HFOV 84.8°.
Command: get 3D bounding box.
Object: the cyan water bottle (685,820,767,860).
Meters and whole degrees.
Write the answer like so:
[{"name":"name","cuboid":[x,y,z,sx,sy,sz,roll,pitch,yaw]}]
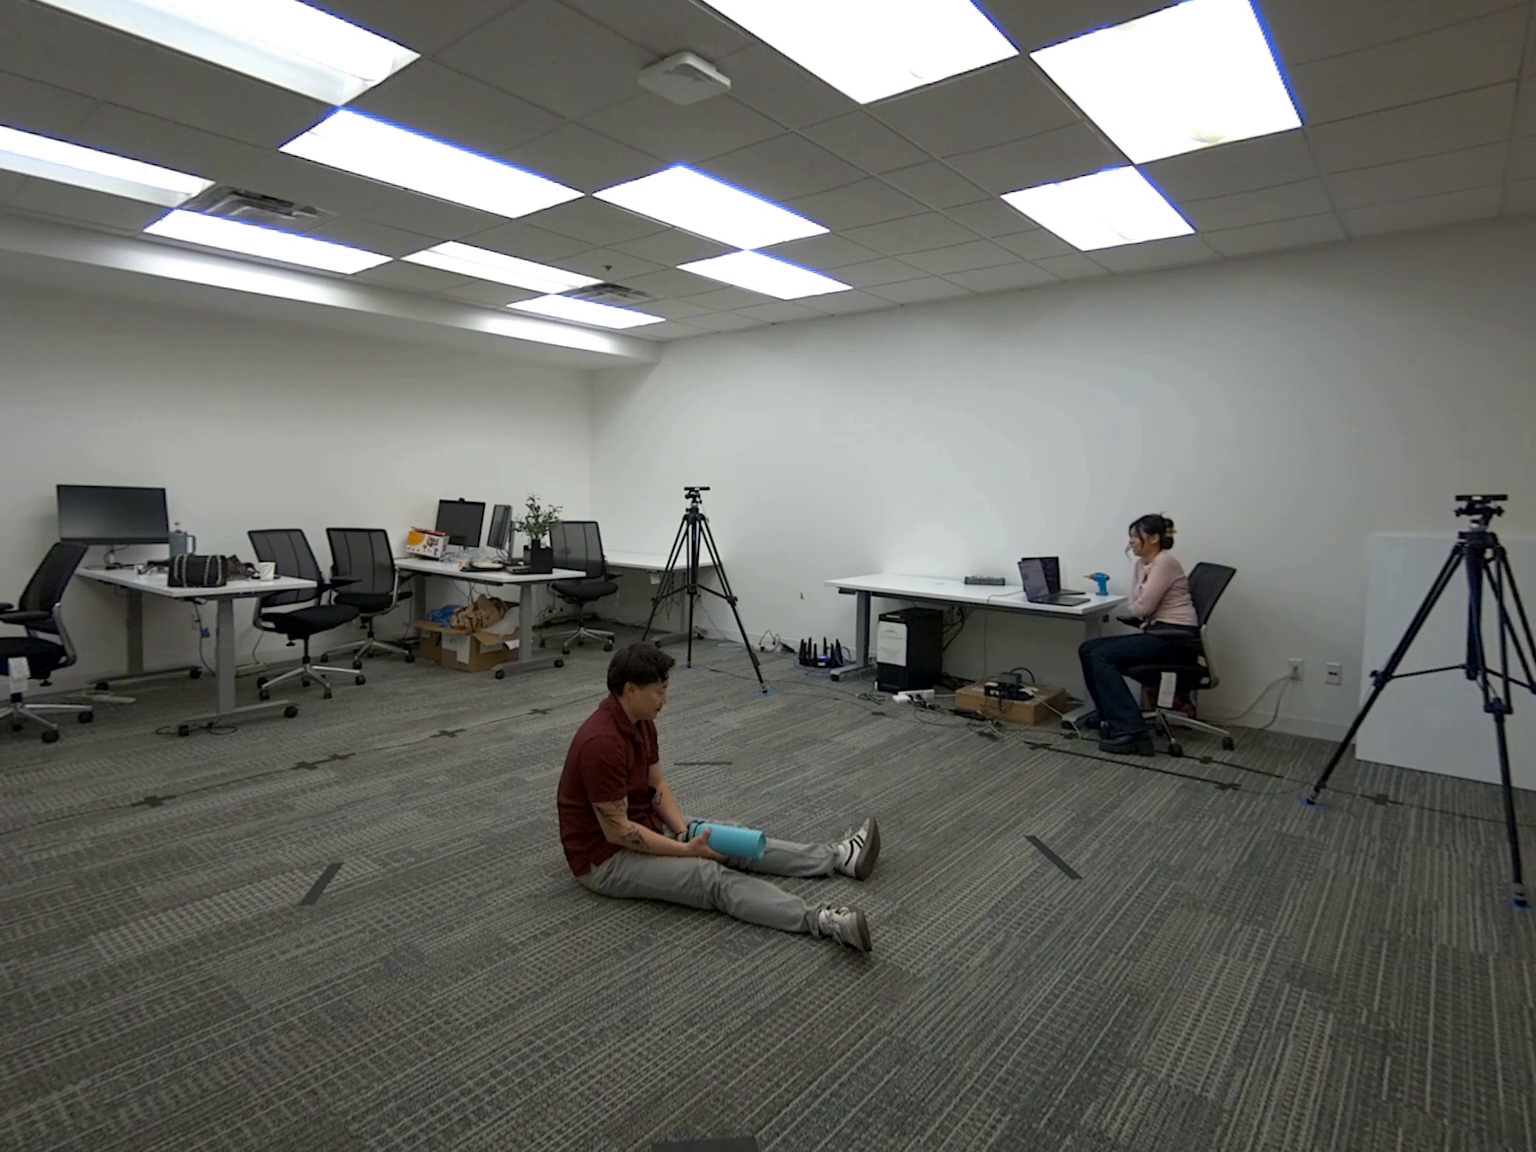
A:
[{"name":"cyan water bottle","cuboid":[-0.163,0.893,2.877,0.290,0.092,0.090,2,4,23]}]
